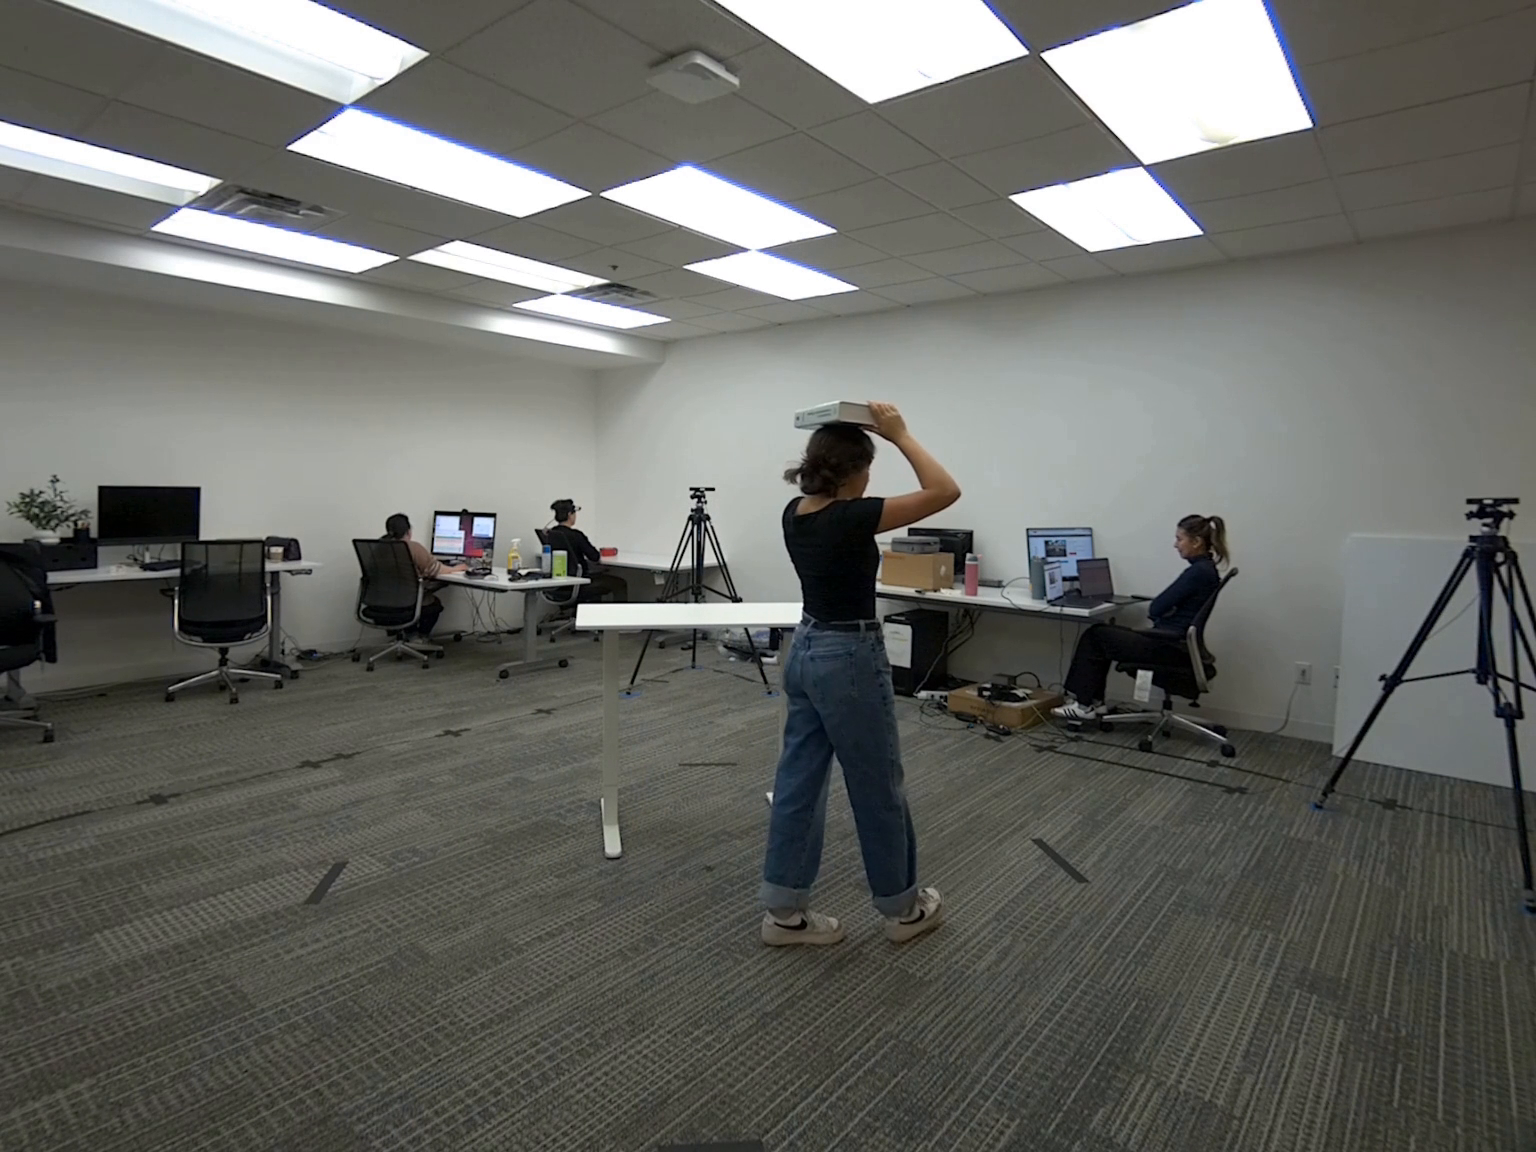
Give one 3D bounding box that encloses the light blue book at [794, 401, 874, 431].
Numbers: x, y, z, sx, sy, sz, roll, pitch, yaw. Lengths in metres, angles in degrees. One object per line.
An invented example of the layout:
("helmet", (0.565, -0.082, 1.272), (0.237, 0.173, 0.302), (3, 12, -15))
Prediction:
("light blue book", (0.216, -0.491, 2.602), (0.187, 0.059, 0.268), (1, 4, -25))
